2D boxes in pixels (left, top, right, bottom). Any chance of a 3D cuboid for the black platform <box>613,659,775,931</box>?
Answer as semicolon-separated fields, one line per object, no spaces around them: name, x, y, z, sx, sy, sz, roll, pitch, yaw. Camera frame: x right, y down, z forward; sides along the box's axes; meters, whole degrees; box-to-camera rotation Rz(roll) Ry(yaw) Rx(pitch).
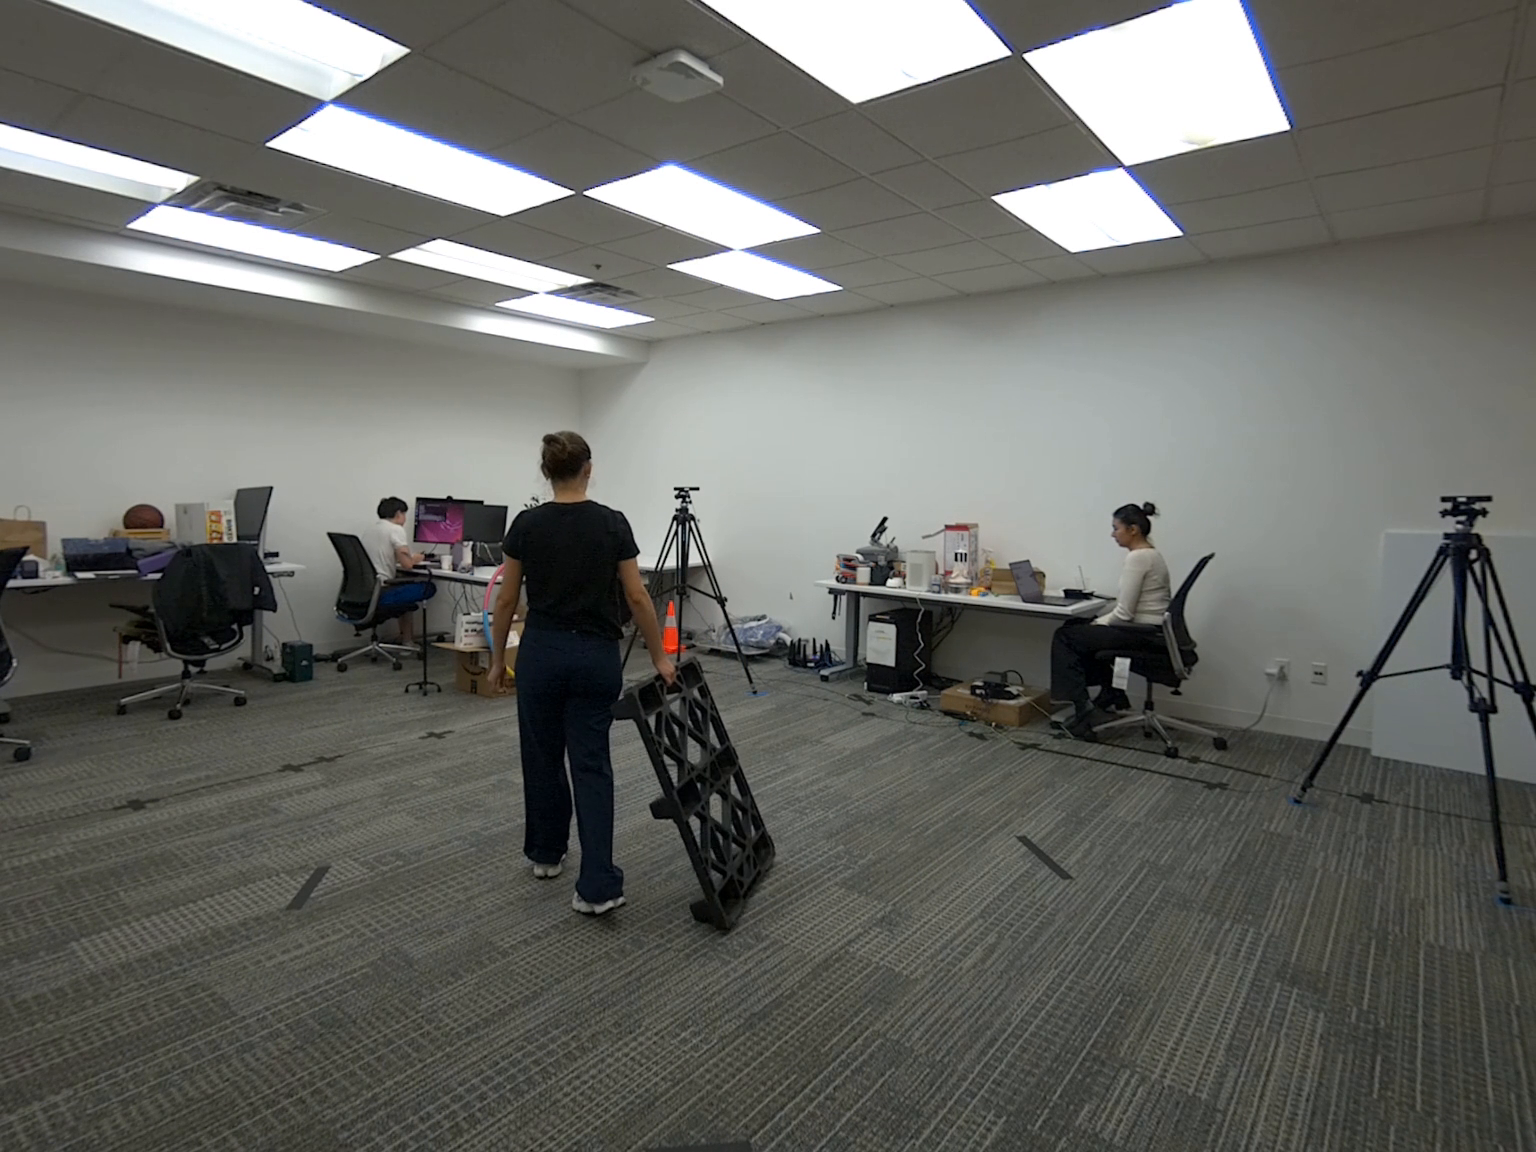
black platform;-0.244;0.715;2.976;0.145;0.811;0.595;-24;-4;16
